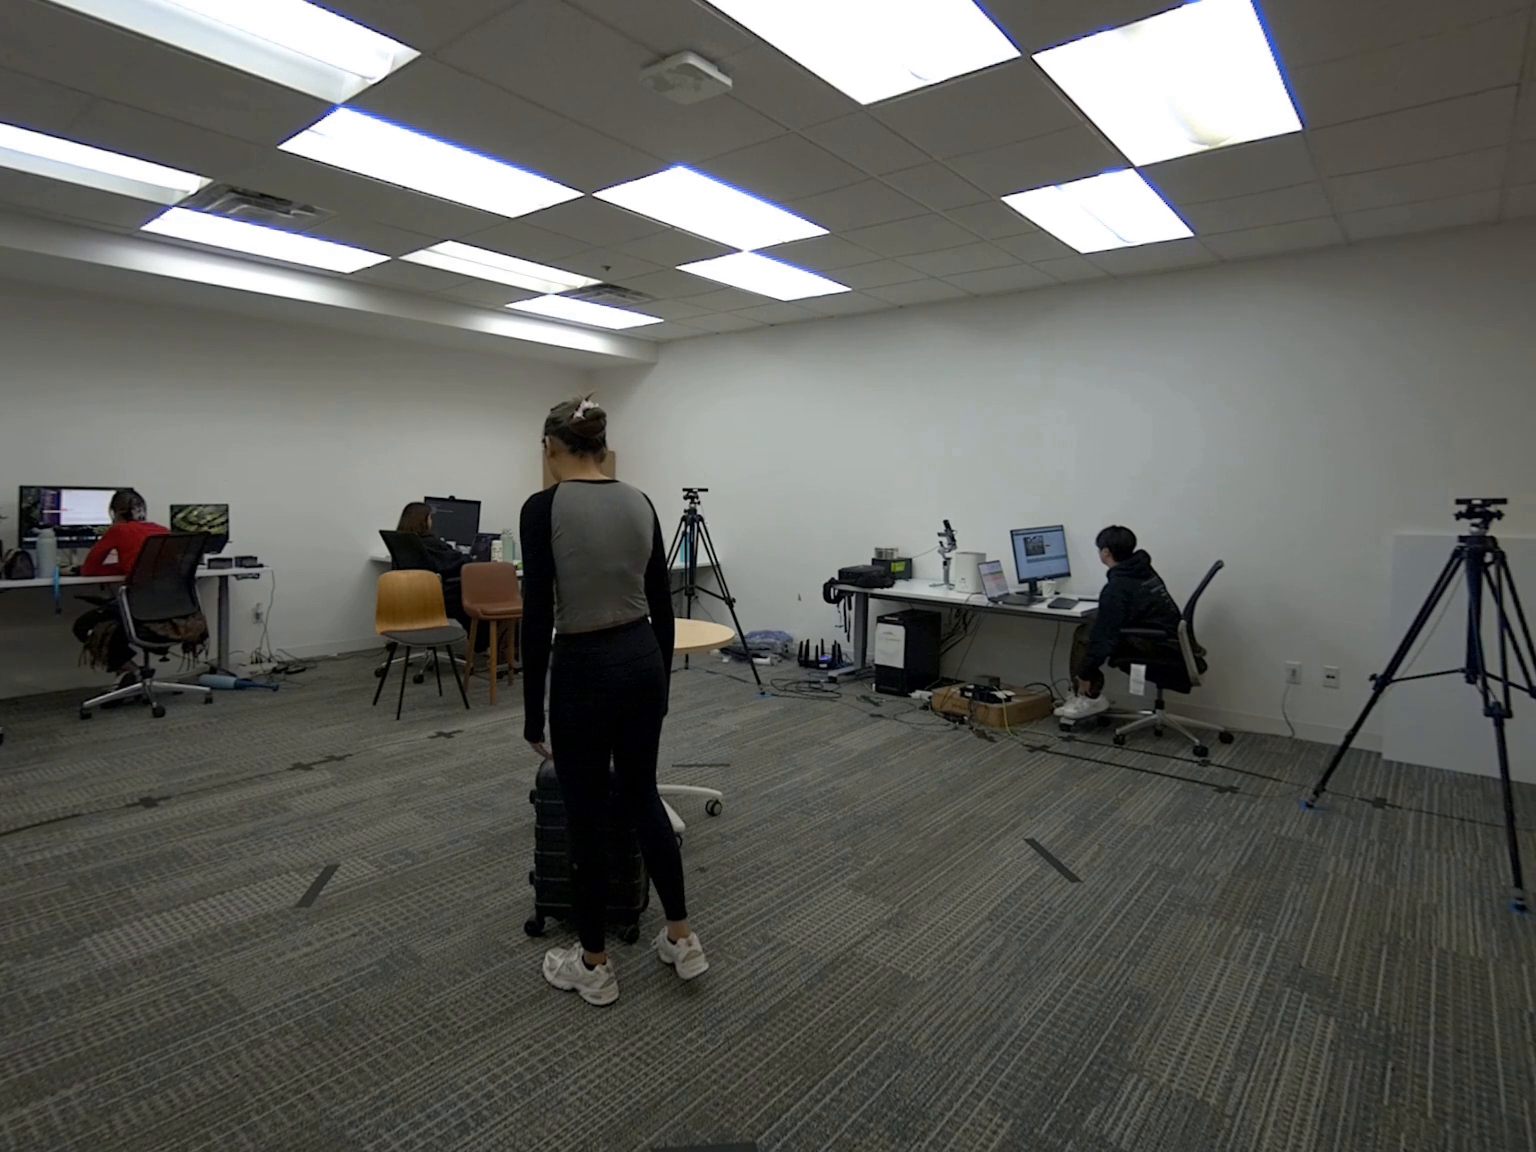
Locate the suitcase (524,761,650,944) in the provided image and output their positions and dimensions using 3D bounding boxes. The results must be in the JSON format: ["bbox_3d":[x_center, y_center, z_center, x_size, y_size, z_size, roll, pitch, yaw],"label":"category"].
[{"bbox_3d":[-0.569,0.834,2.704,0.376,0.547,0.248,2,4,2],"label":"suitcase"}]
